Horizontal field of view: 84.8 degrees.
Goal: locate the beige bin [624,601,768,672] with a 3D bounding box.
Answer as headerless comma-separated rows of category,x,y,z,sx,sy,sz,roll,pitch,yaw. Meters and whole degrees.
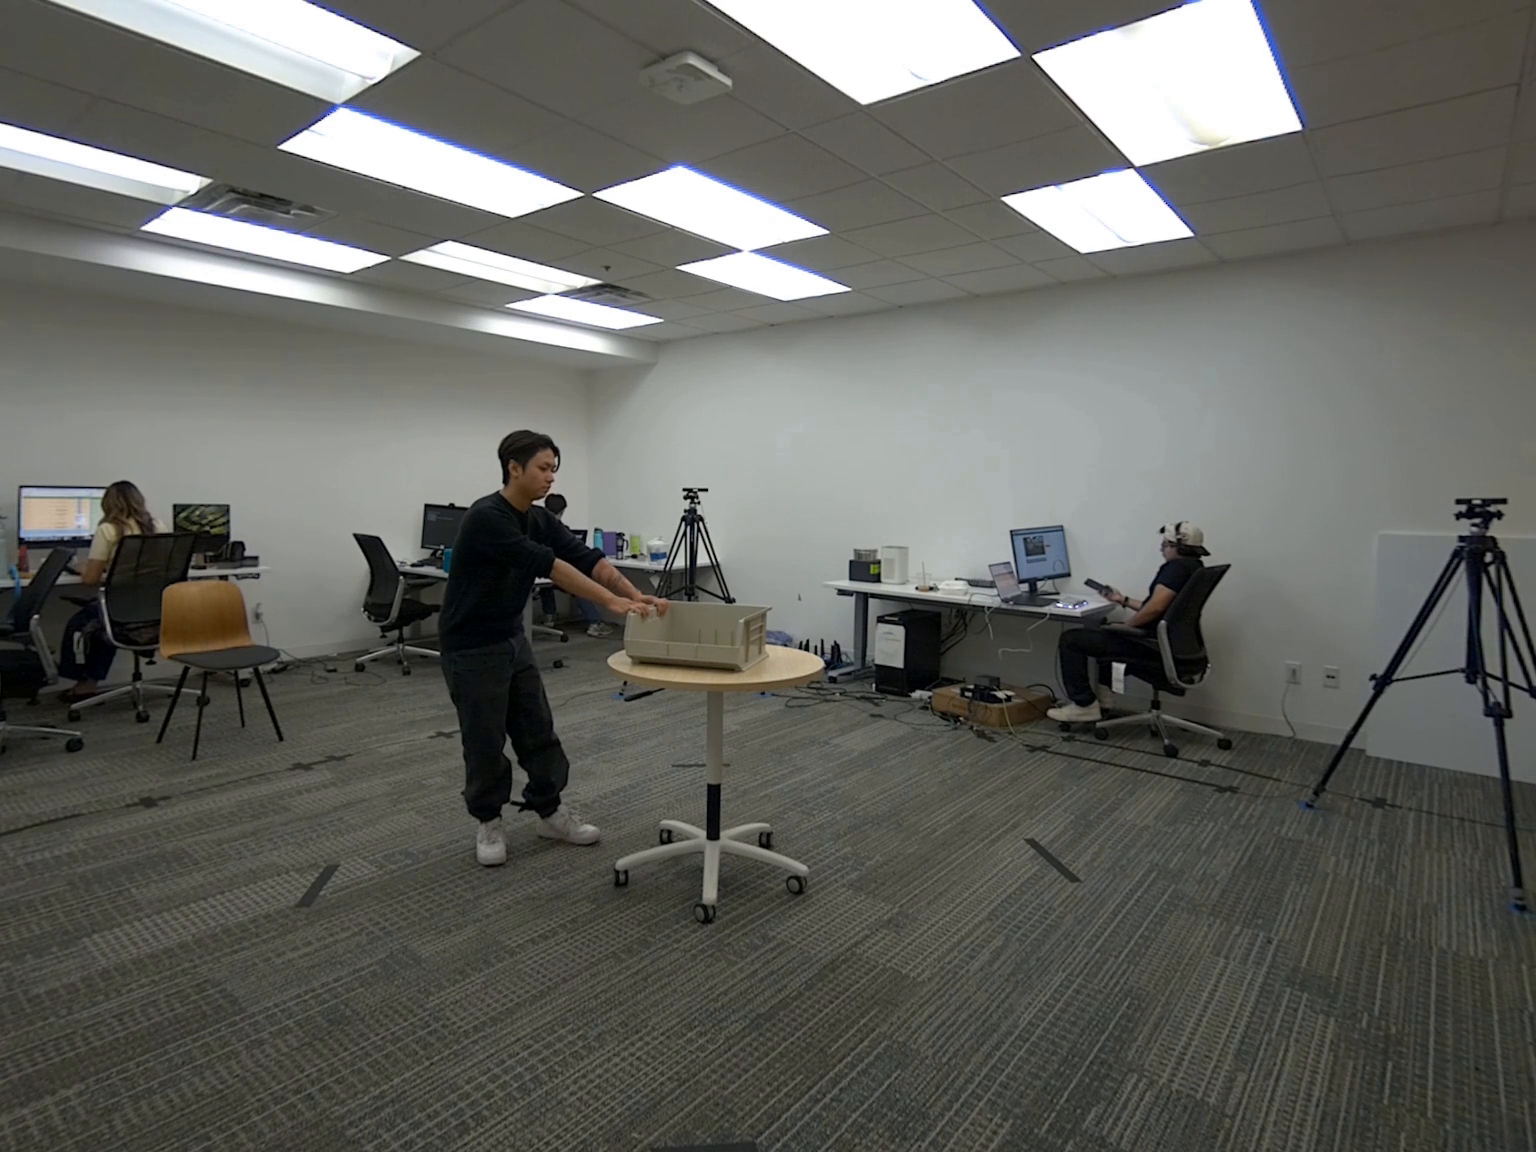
beige bin,-0.250,0.207,3.002,0.430,0.189,0.371,2,3,17
